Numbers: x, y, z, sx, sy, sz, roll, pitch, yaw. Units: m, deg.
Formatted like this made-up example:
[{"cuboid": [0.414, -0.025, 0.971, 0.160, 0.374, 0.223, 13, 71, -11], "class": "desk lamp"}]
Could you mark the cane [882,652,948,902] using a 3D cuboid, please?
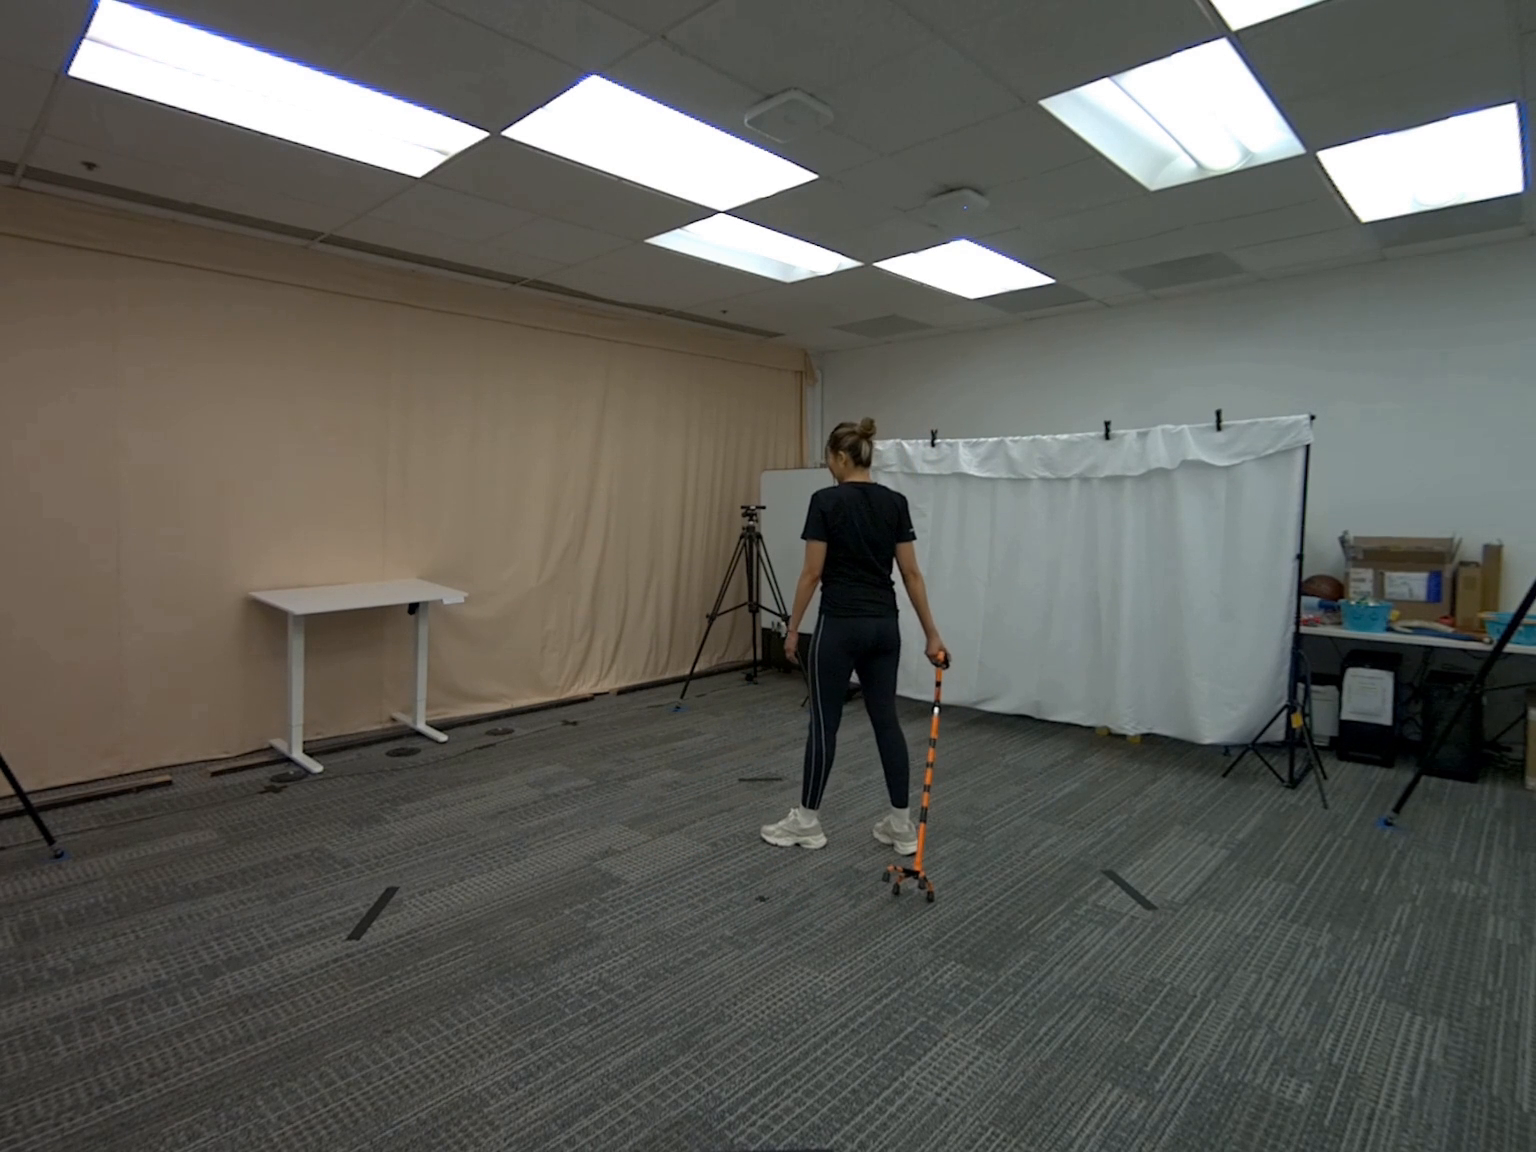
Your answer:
[{"cuboid": [0.595, 0.699, 3.126, 0.155, 0.914, 0.200, 1, -31, 26], "class": "cane"}]
